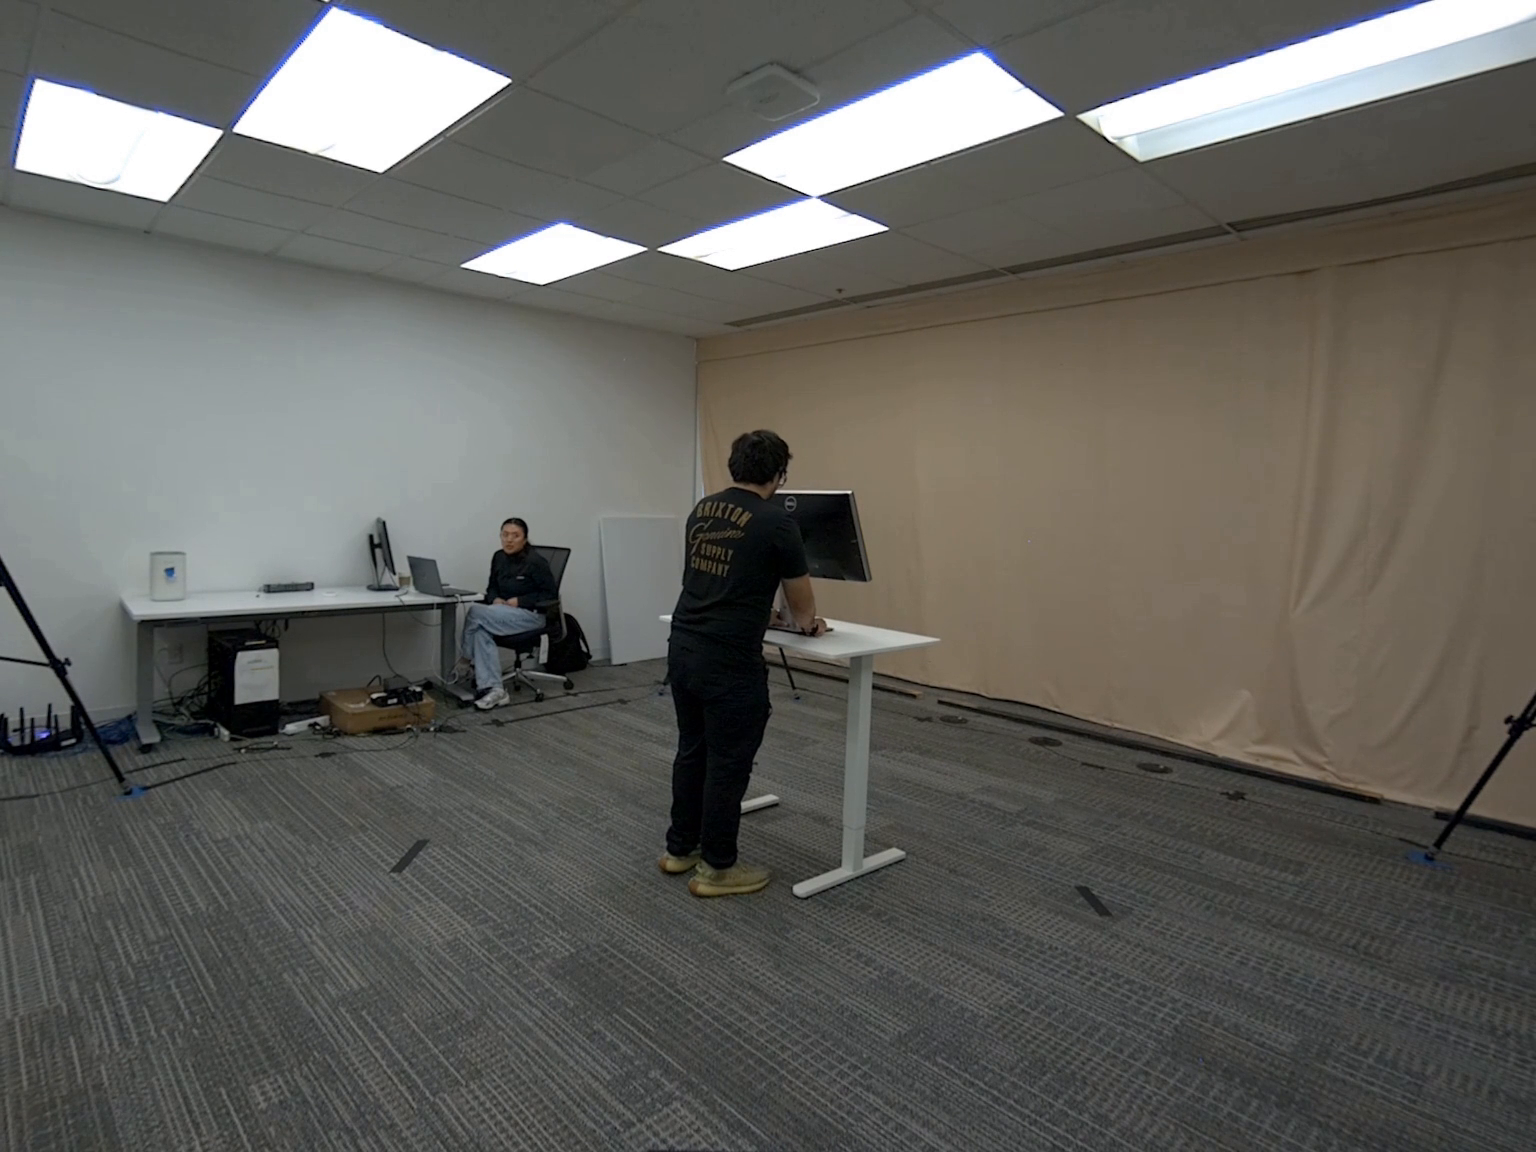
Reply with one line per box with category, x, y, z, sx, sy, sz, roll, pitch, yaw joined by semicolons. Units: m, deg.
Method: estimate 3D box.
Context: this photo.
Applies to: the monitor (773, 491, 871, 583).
monitor;0.095;-0.058;3.285;0.580;0.548;0.207;6;17;44
